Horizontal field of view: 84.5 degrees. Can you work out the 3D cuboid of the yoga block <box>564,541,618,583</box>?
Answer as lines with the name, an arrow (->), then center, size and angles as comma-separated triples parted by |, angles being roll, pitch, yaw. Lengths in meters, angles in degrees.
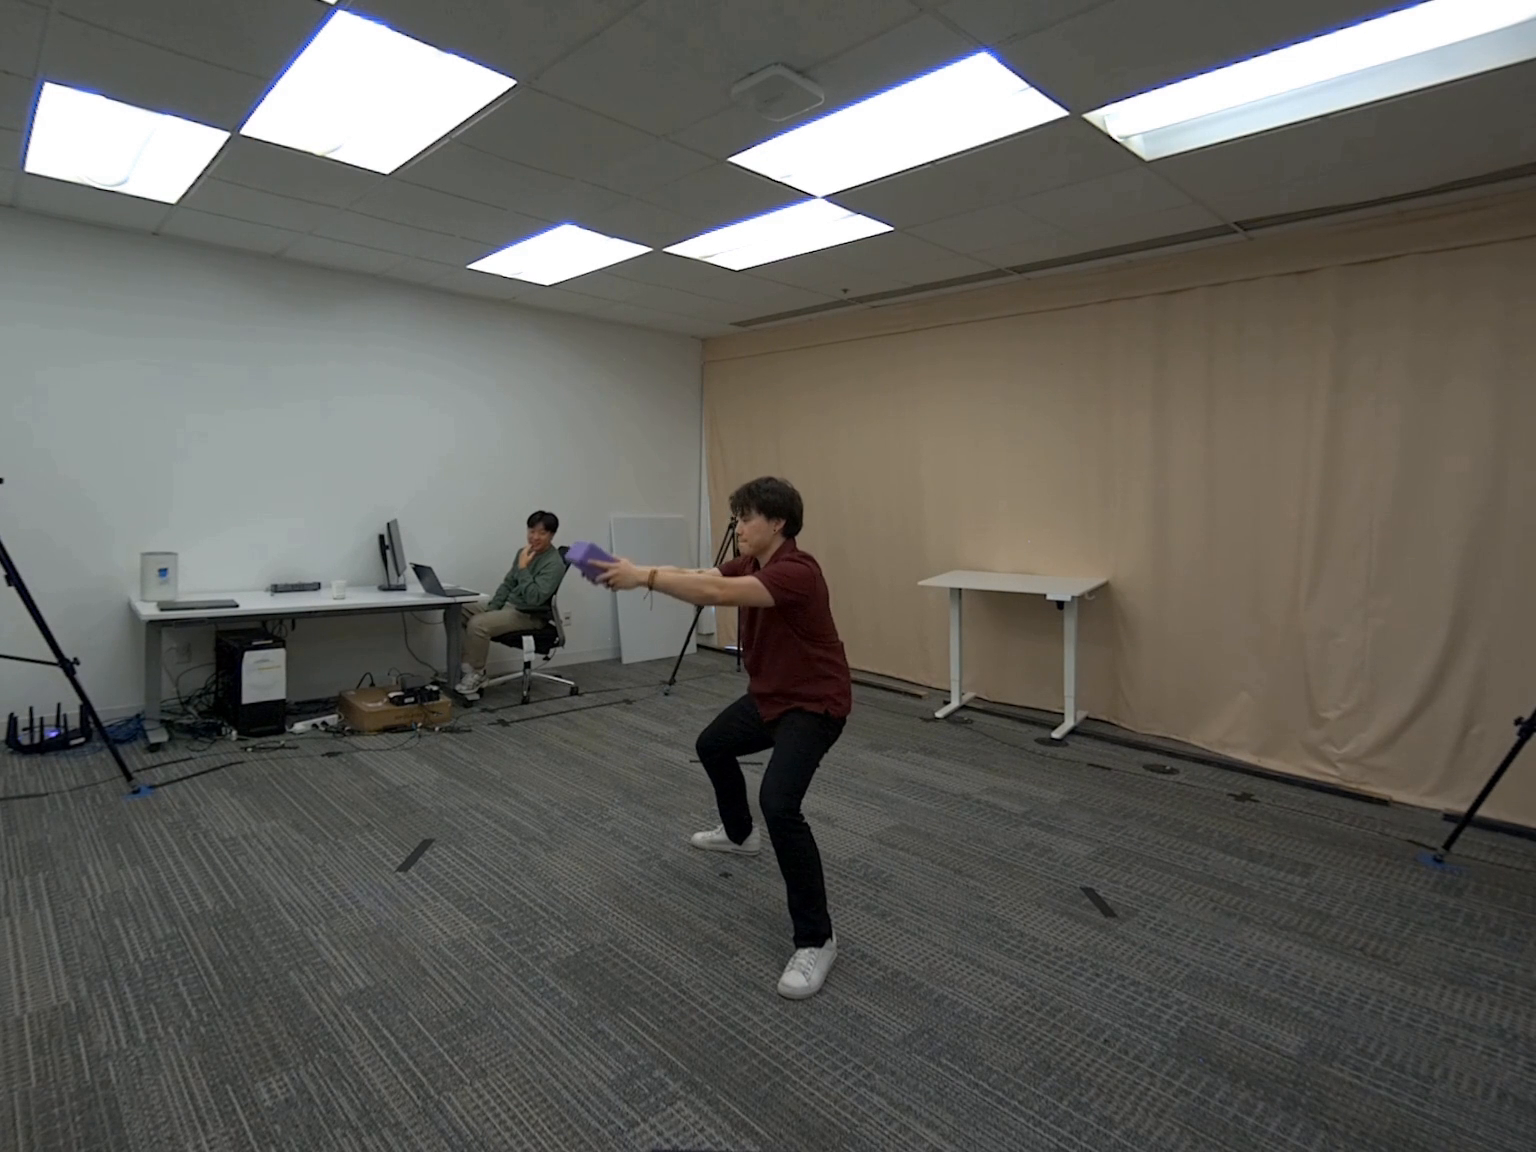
yoga block -> -0.546, -0.052, 2.652 | 0.146, 0.076, 0.233 | 27, -5, -18
